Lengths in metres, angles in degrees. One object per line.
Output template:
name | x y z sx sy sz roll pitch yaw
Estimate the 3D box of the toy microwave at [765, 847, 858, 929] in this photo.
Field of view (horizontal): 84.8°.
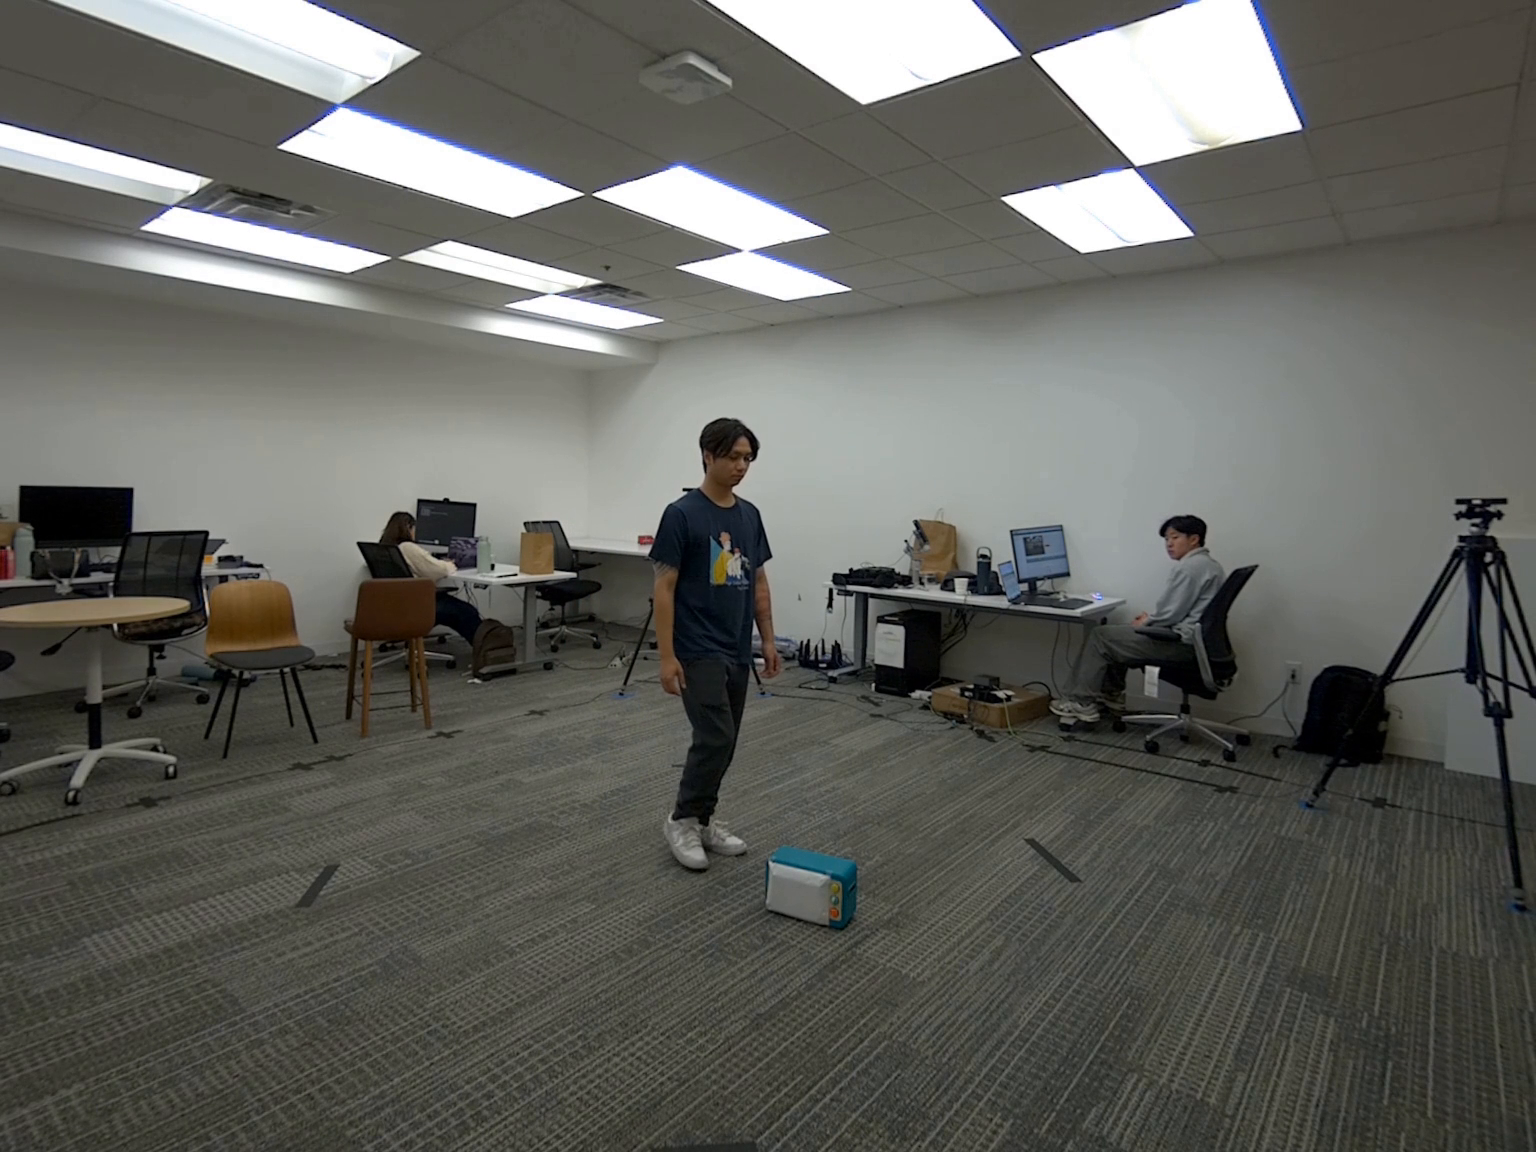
toy microwave | 0.129 1.015 2.789 0.294 0.183 0.149 5 5 25
